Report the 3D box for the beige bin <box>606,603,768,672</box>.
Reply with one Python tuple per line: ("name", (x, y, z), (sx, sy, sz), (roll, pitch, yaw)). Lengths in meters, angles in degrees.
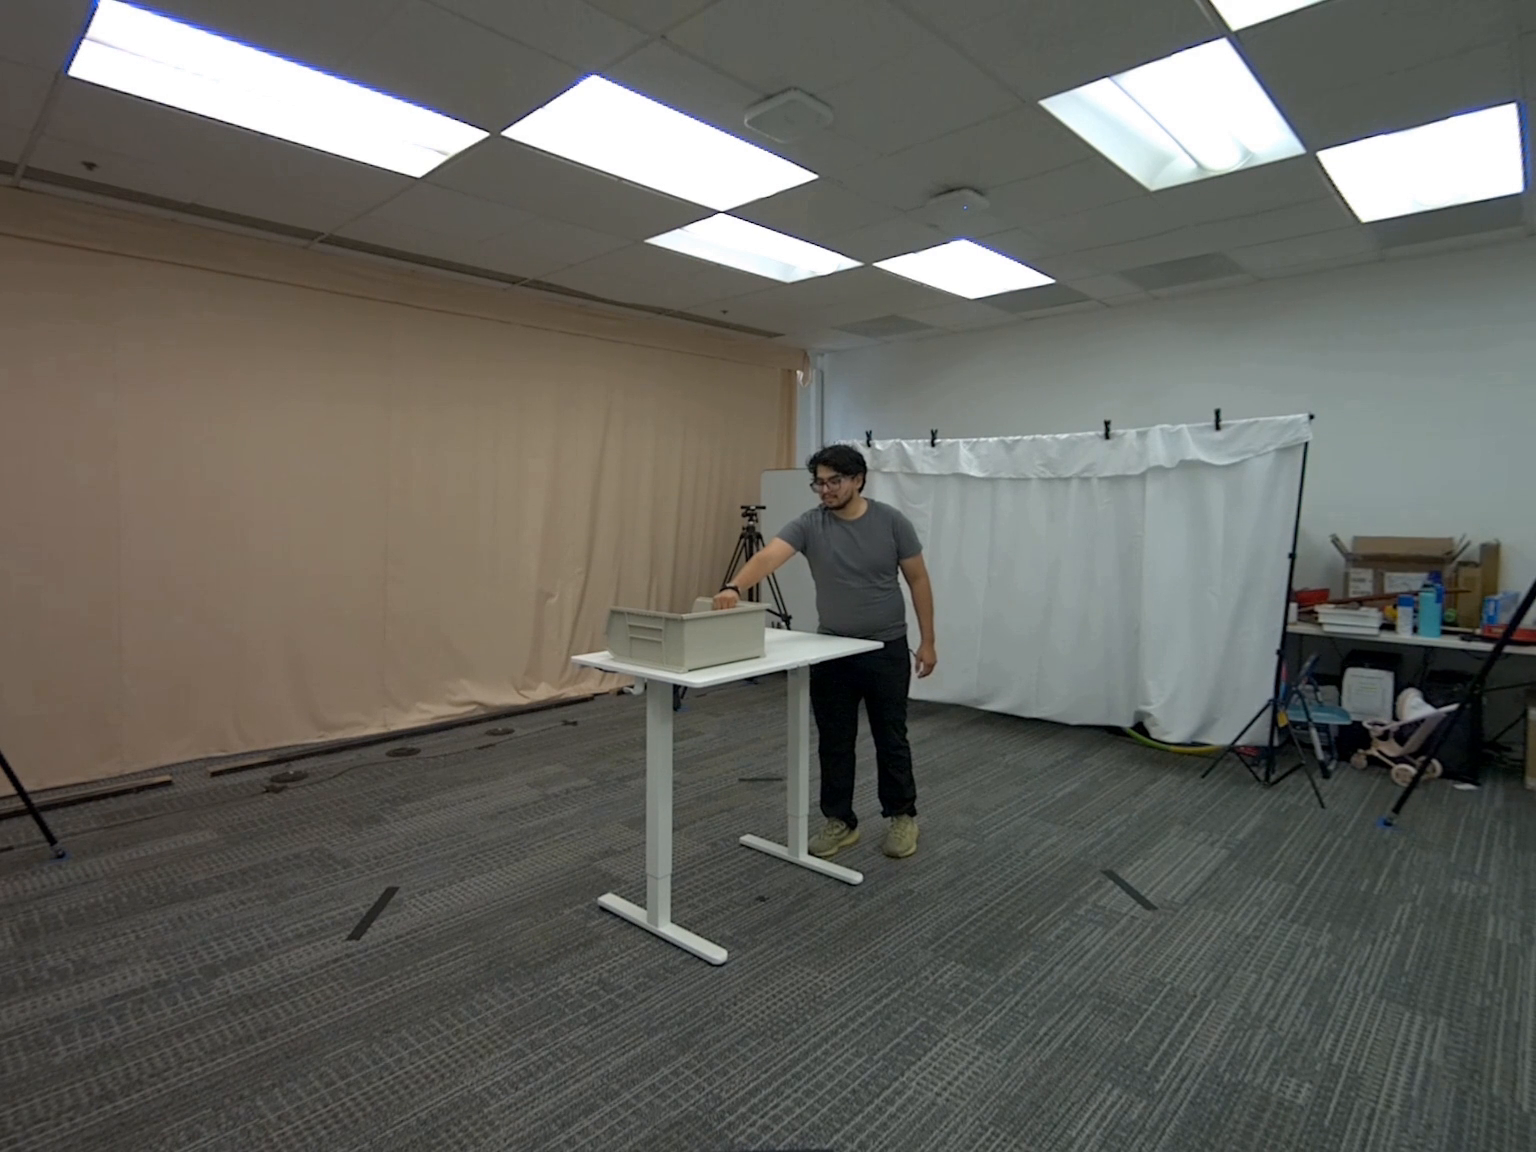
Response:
("beige bin", (-0.273, 0.188, 2.801), (0.390, 0.188, 0.409), (6, 6, 42))
